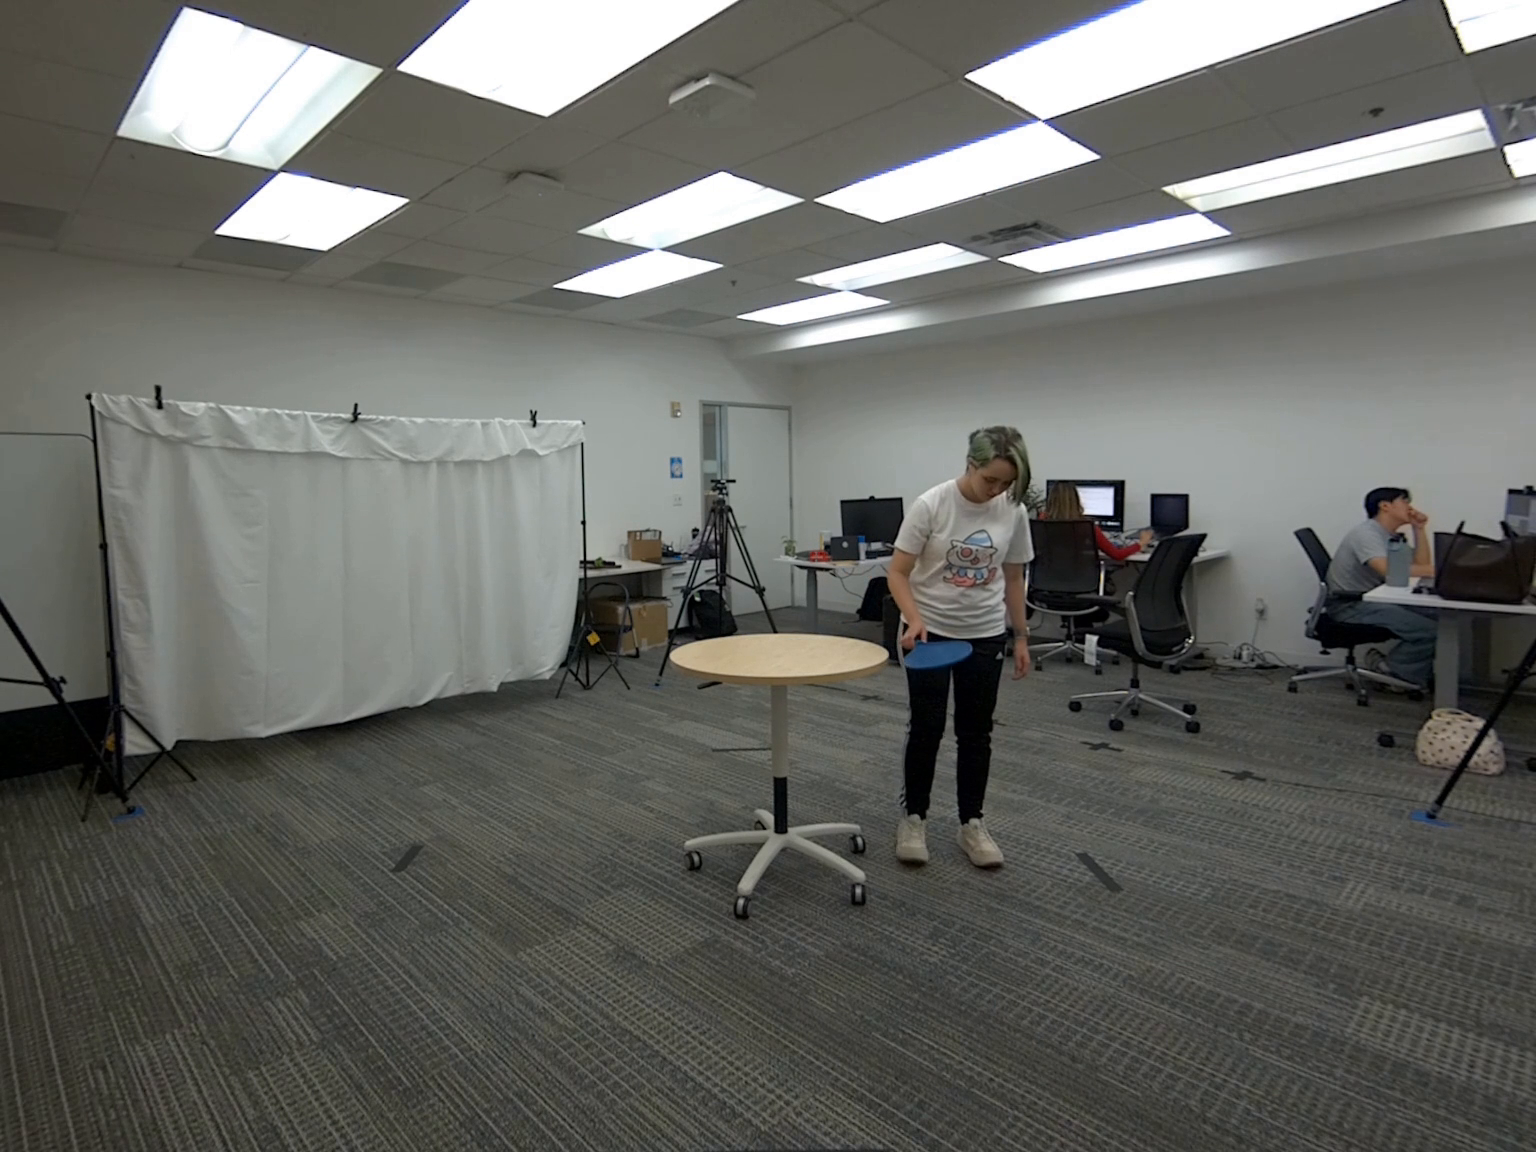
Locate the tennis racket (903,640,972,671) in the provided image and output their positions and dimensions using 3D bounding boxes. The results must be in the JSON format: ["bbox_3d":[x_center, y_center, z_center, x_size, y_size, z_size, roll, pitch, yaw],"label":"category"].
[{"bbox_3d":[0.517,0.252,2.753,0.214,0.031,0.435,-18,6,-1],"label":"tennis racket"}]
